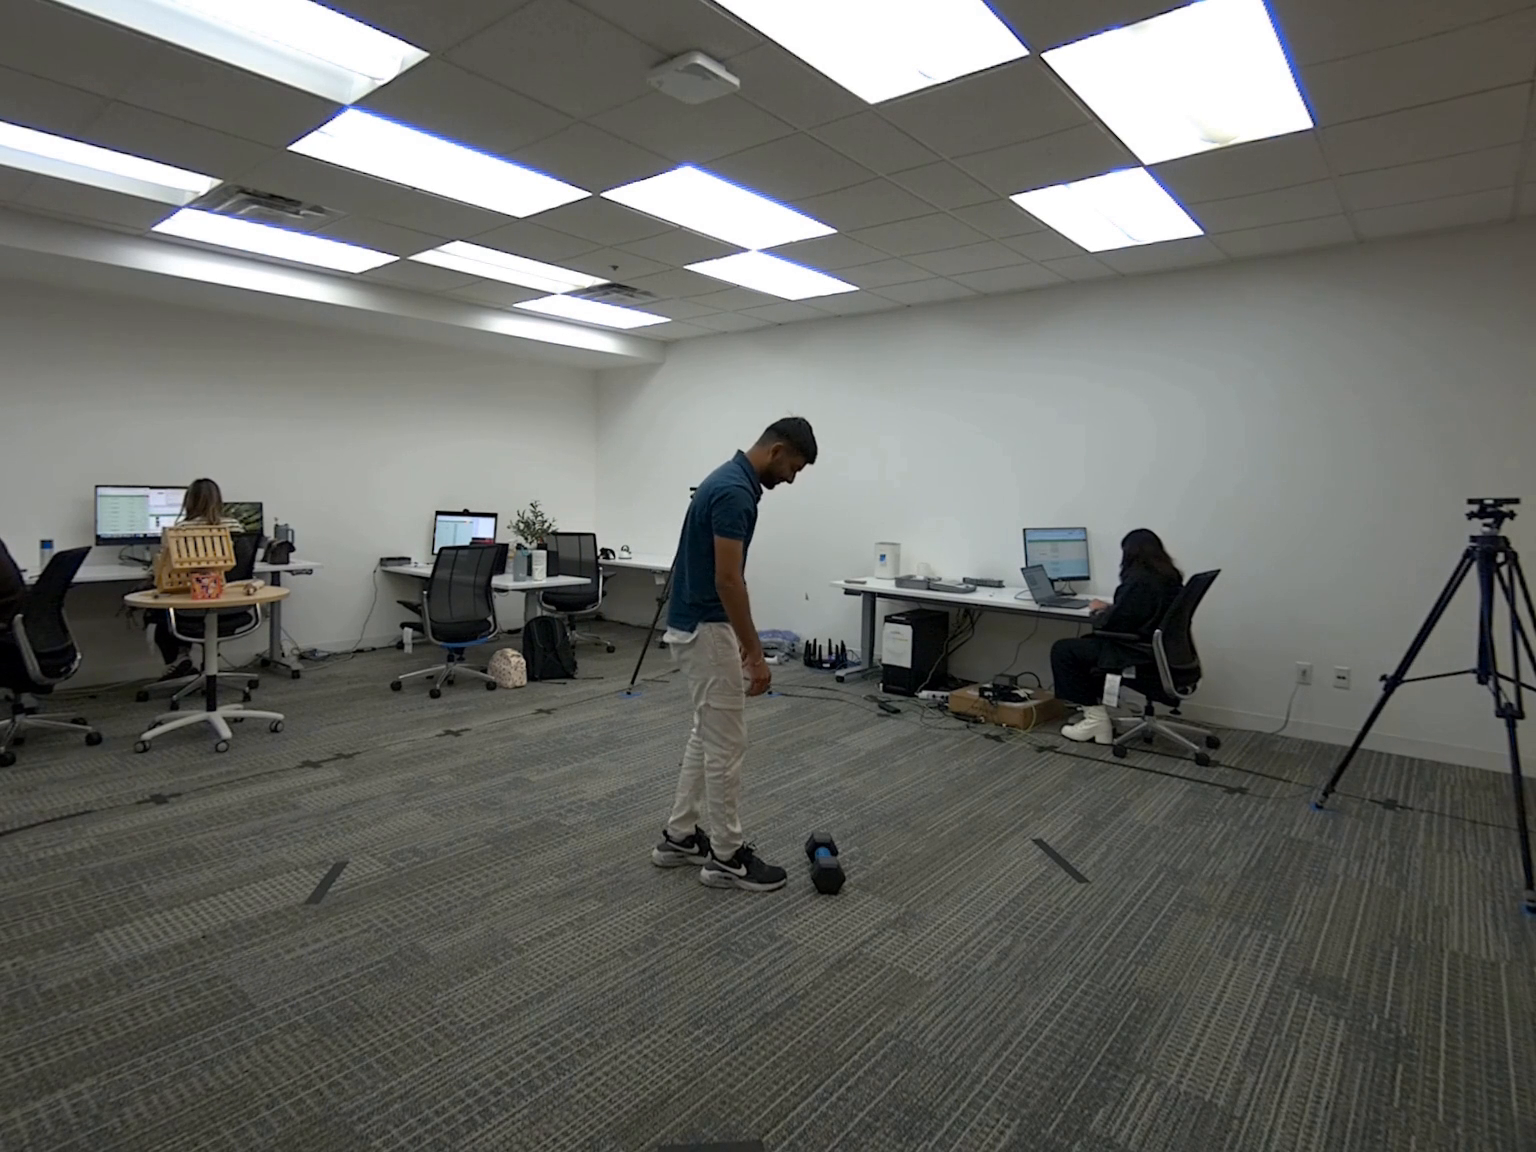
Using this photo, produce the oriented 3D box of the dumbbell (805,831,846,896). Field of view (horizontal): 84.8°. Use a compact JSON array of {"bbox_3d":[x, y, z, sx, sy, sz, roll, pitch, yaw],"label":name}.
[{"bbox_3d":[0.194,1.031,3.061,0.108,0.123,0.295,31,3,-5],"label":"dumbbell"}]
